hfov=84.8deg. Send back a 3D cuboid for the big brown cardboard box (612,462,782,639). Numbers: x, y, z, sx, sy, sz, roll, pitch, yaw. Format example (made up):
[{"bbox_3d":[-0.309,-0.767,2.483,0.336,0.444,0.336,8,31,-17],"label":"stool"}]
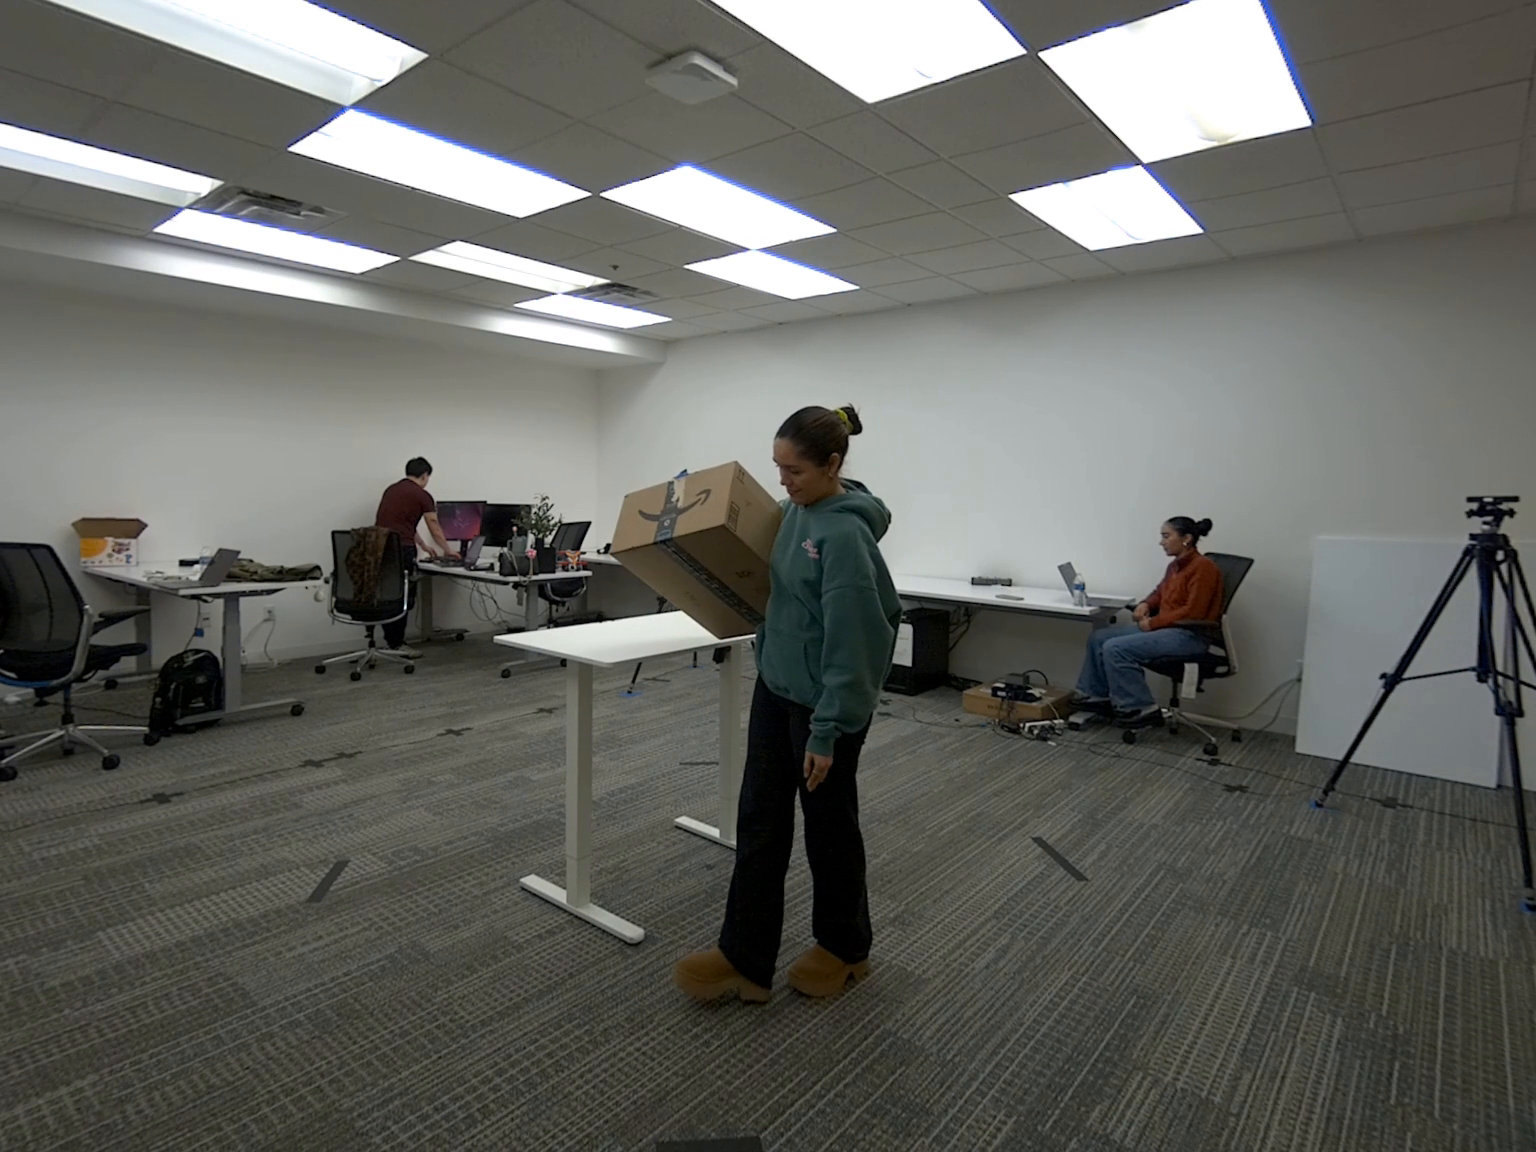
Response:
[{"bbox_3d":[-0.128,-0.055,2.559,0.427,0.238,0.564,-12,-37,33],"label":"big brown cardboard box"}]
